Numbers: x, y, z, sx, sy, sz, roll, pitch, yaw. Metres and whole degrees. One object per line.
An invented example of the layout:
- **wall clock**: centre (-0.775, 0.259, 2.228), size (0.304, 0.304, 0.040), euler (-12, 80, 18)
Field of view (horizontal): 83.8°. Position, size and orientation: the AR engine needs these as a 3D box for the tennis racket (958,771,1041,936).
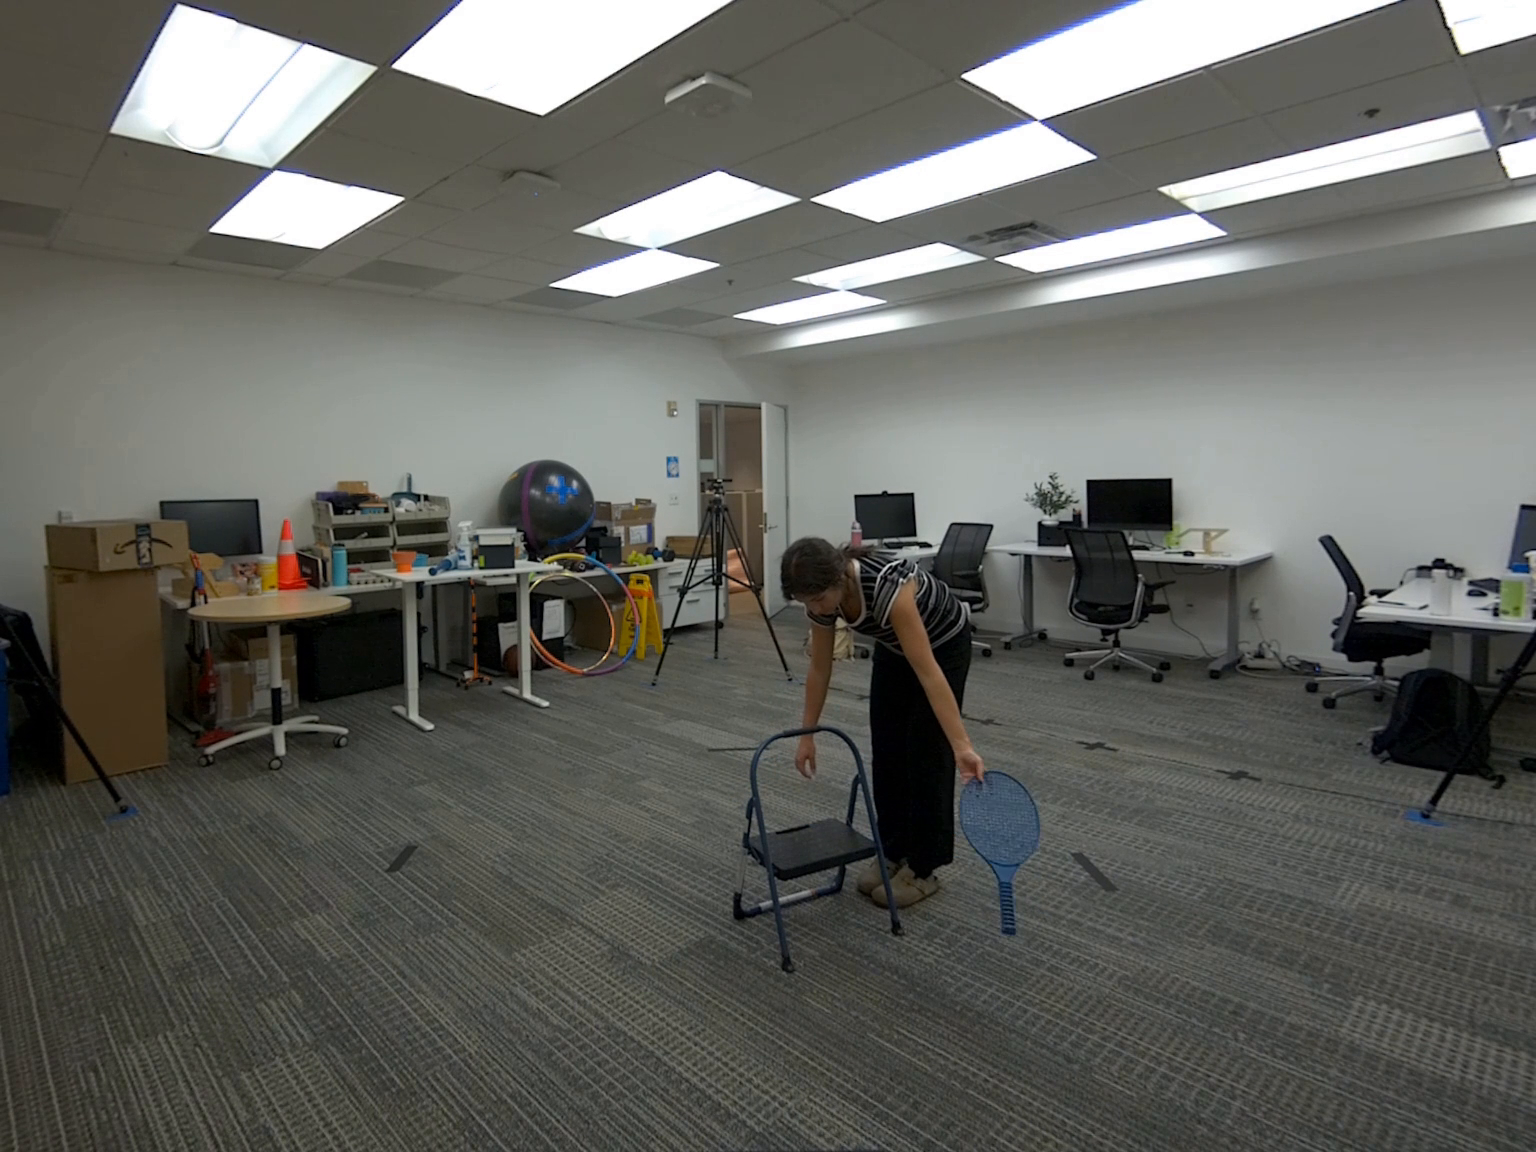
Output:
- **tennis racket**: centre (0.618, 0.719, 2.244), size (0.216, 0.031, 0.441), euler (4, 49, 10)
